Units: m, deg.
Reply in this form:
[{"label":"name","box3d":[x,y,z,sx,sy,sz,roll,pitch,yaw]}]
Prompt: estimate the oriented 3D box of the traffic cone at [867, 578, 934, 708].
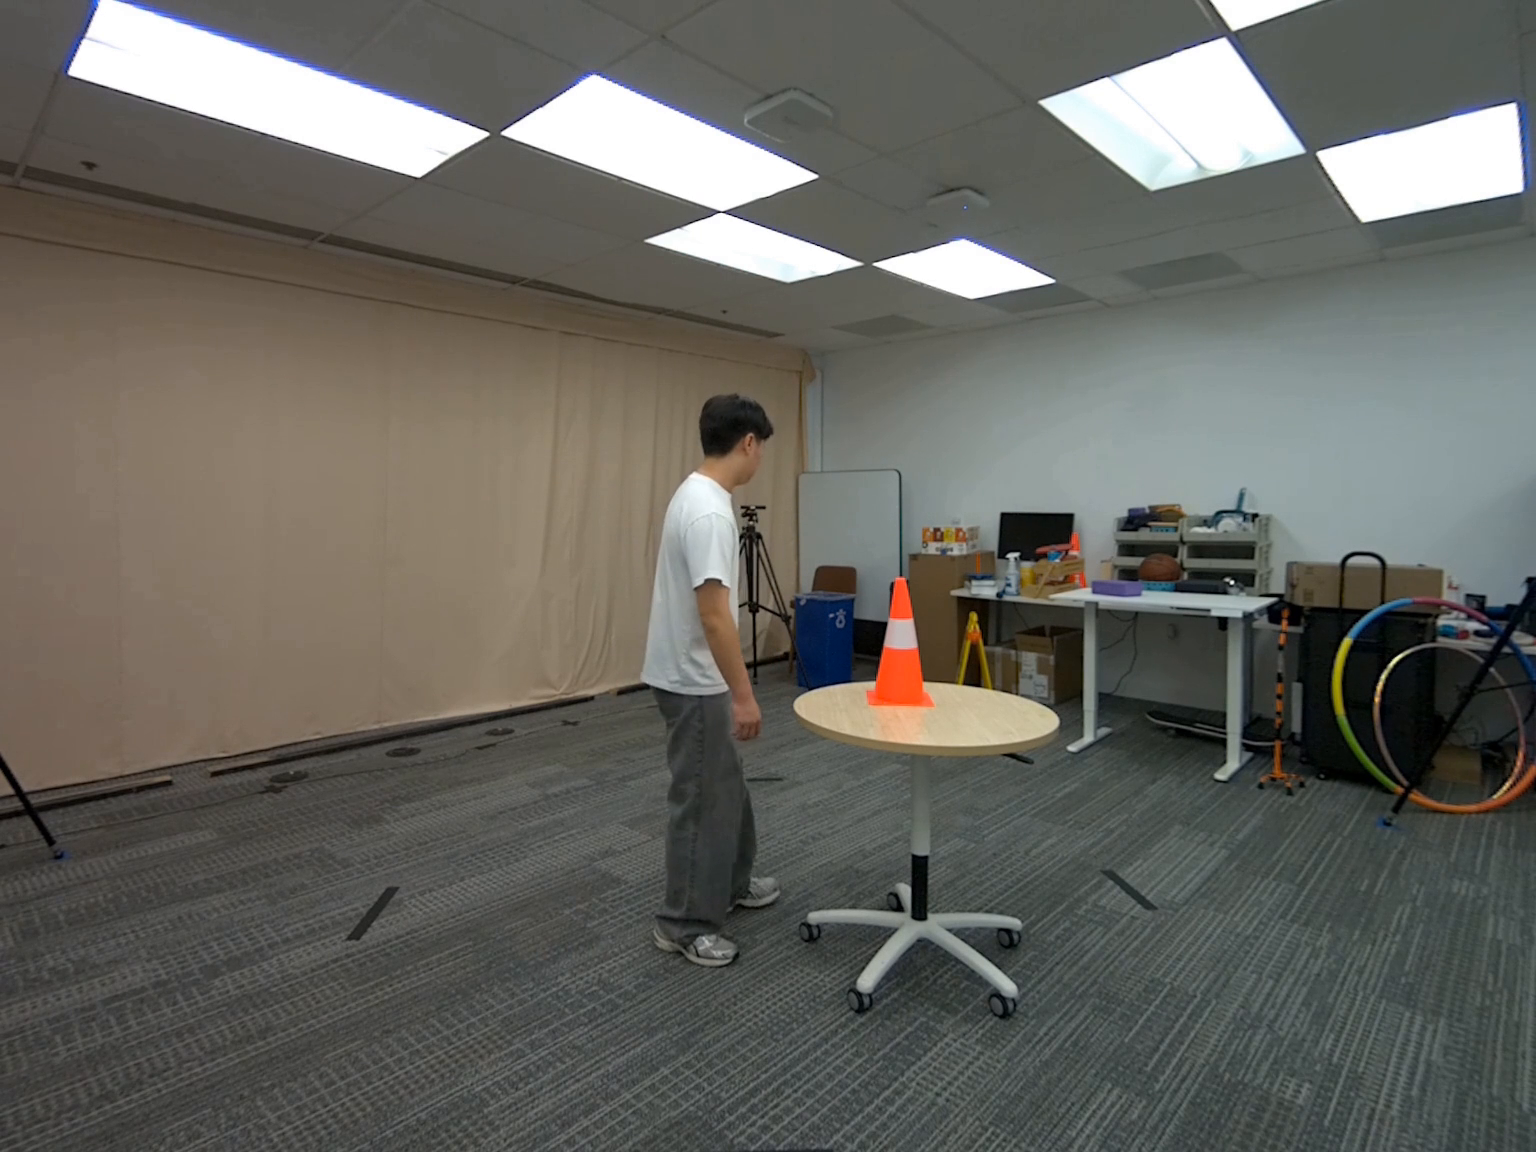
[{"label":"traffic cone","box3d":[0.424,0.202,2.635,0.206,0.383,0.202,0,3,6]}]
